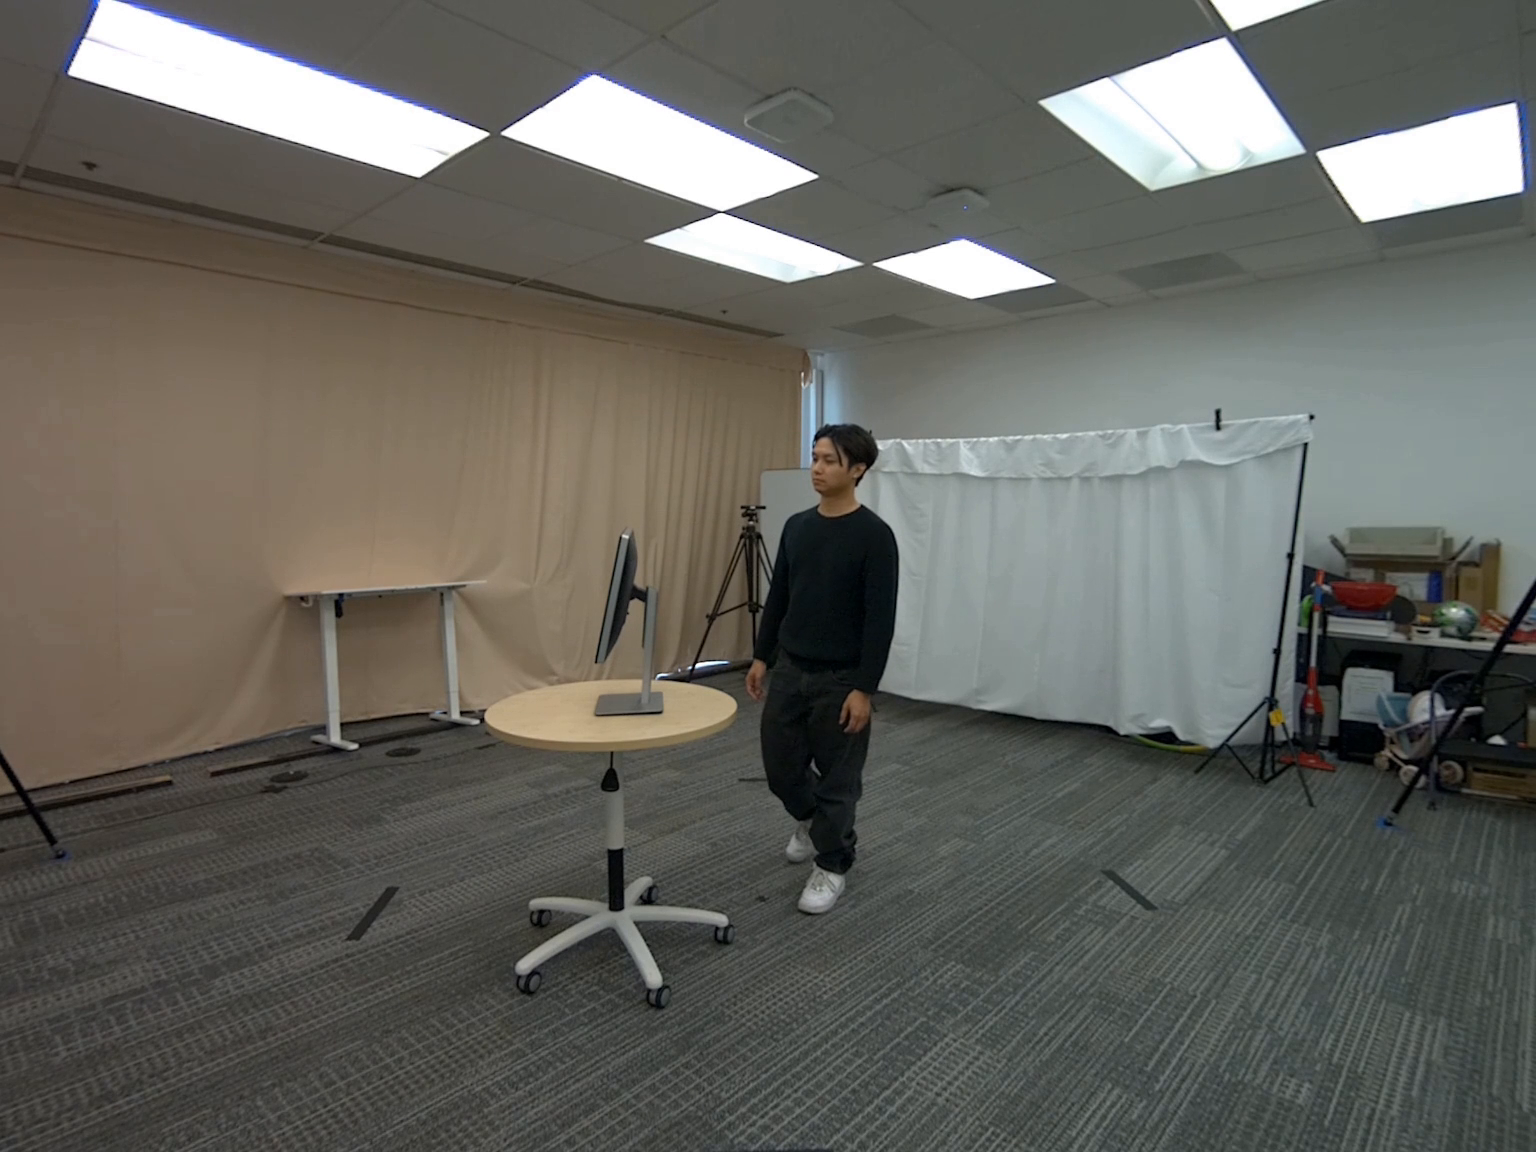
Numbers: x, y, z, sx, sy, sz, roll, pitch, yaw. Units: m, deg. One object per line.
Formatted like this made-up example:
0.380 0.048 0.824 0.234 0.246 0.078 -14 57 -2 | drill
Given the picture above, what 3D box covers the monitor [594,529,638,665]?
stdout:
-0.432 0.135 2.586 0.173 0.514 0.536 -5 5 -9 | monitor
